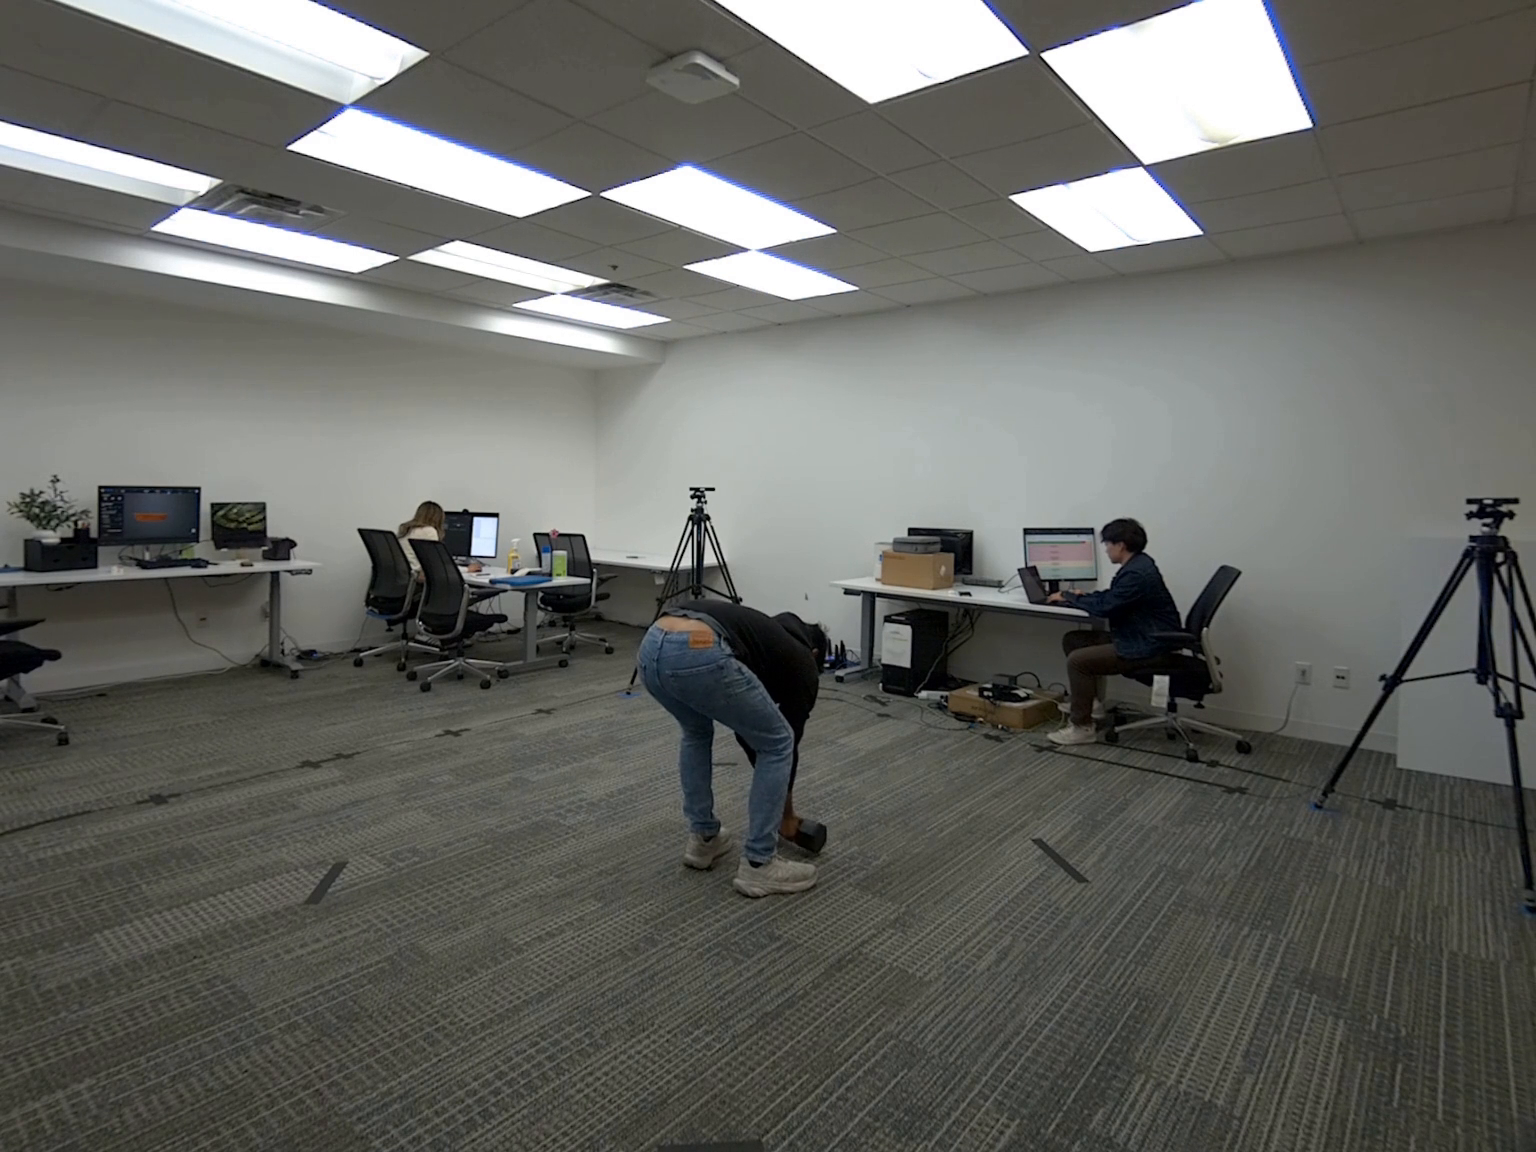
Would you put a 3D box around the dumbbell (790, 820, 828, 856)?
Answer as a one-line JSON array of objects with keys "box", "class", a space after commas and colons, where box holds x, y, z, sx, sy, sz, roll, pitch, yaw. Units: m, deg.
[{"box": [0.072, 0.975, 3.312, 0.303, 0.105, 0.123, 6, 38, 39], "class": "dumbbell"}]
